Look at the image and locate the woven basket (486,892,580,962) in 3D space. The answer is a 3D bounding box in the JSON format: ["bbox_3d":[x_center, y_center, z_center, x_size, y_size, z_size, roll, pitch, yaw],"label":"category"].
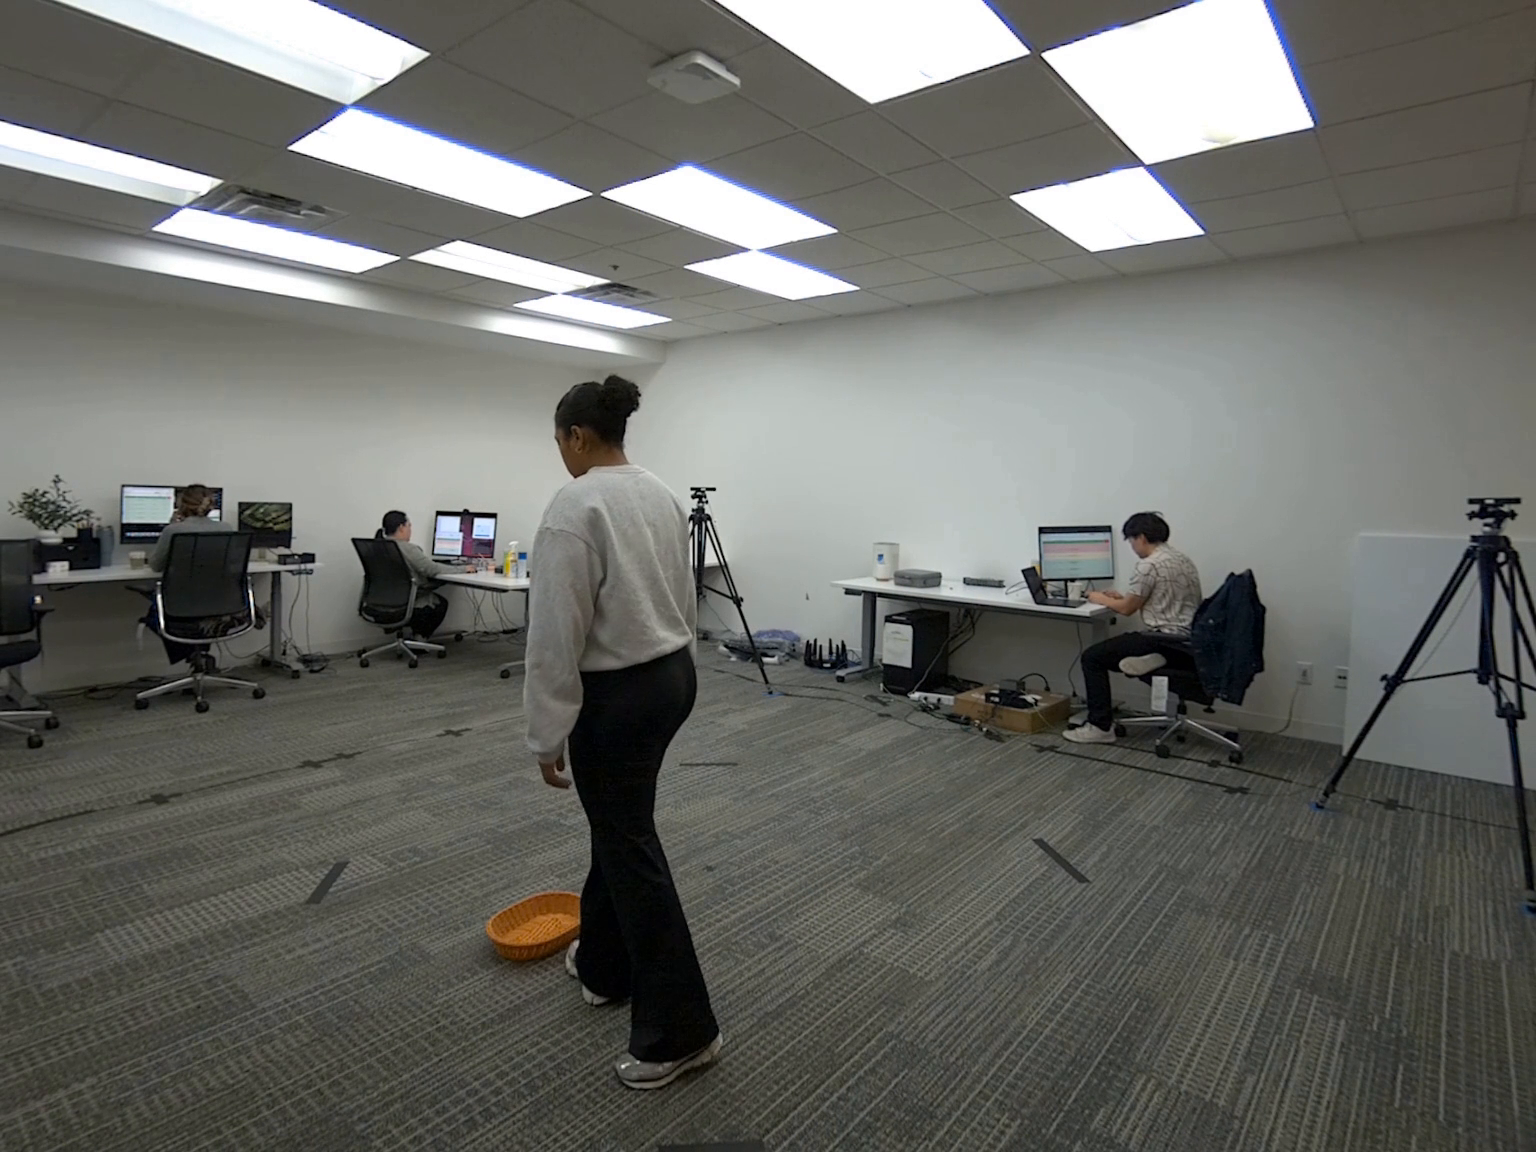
[{"bbox_3d":[-0.706,1.071,2.604,0.261,0.073,0.340,5,6,36],"label":"woven basket"}]
